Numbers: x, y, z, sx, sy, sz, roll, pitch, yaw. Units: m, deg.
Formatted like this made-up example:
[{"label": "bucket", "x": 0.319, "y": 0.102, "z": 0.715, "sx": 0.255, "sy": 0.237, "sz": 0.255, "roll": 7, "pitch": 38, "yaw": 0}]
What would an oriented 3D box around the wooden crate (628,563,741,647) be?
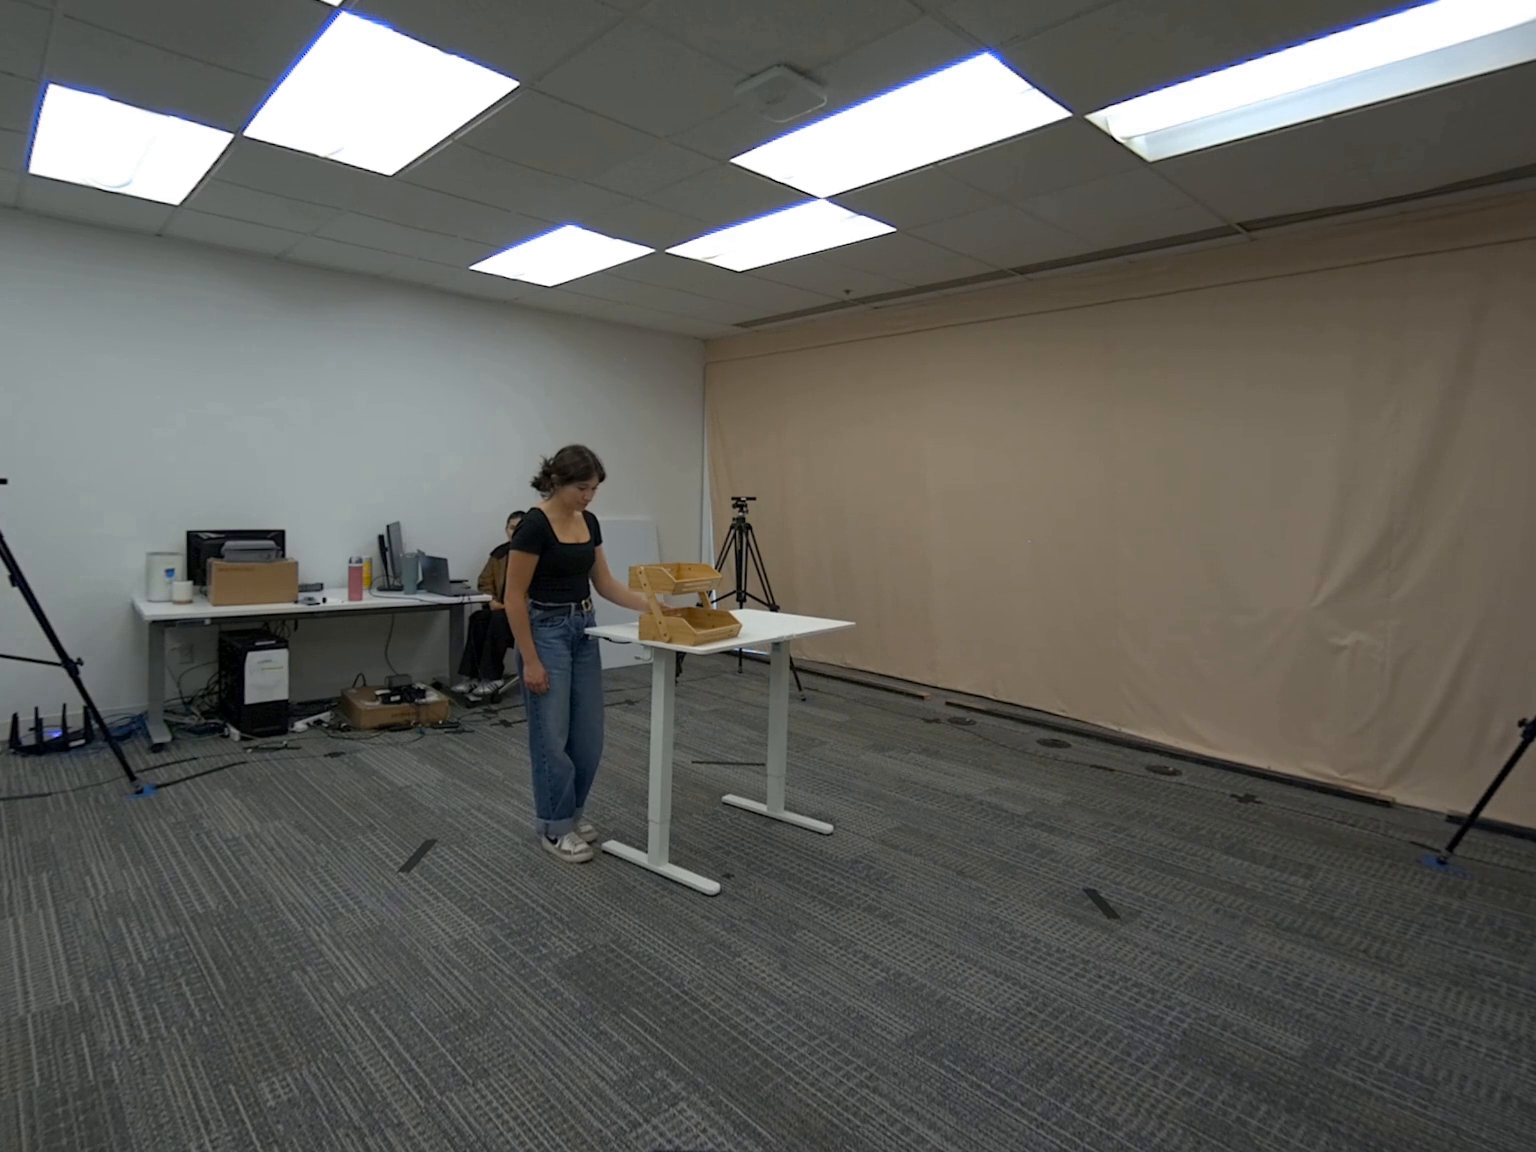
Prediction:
[{"label": "wooden crate", "x": -0.302, "y": 0.090, "z": 3.052, "sx": 0.309, "sy": 0.273, "sz": 0.318, "roll": 3, "pitch": 4, "yaw": 31}]
